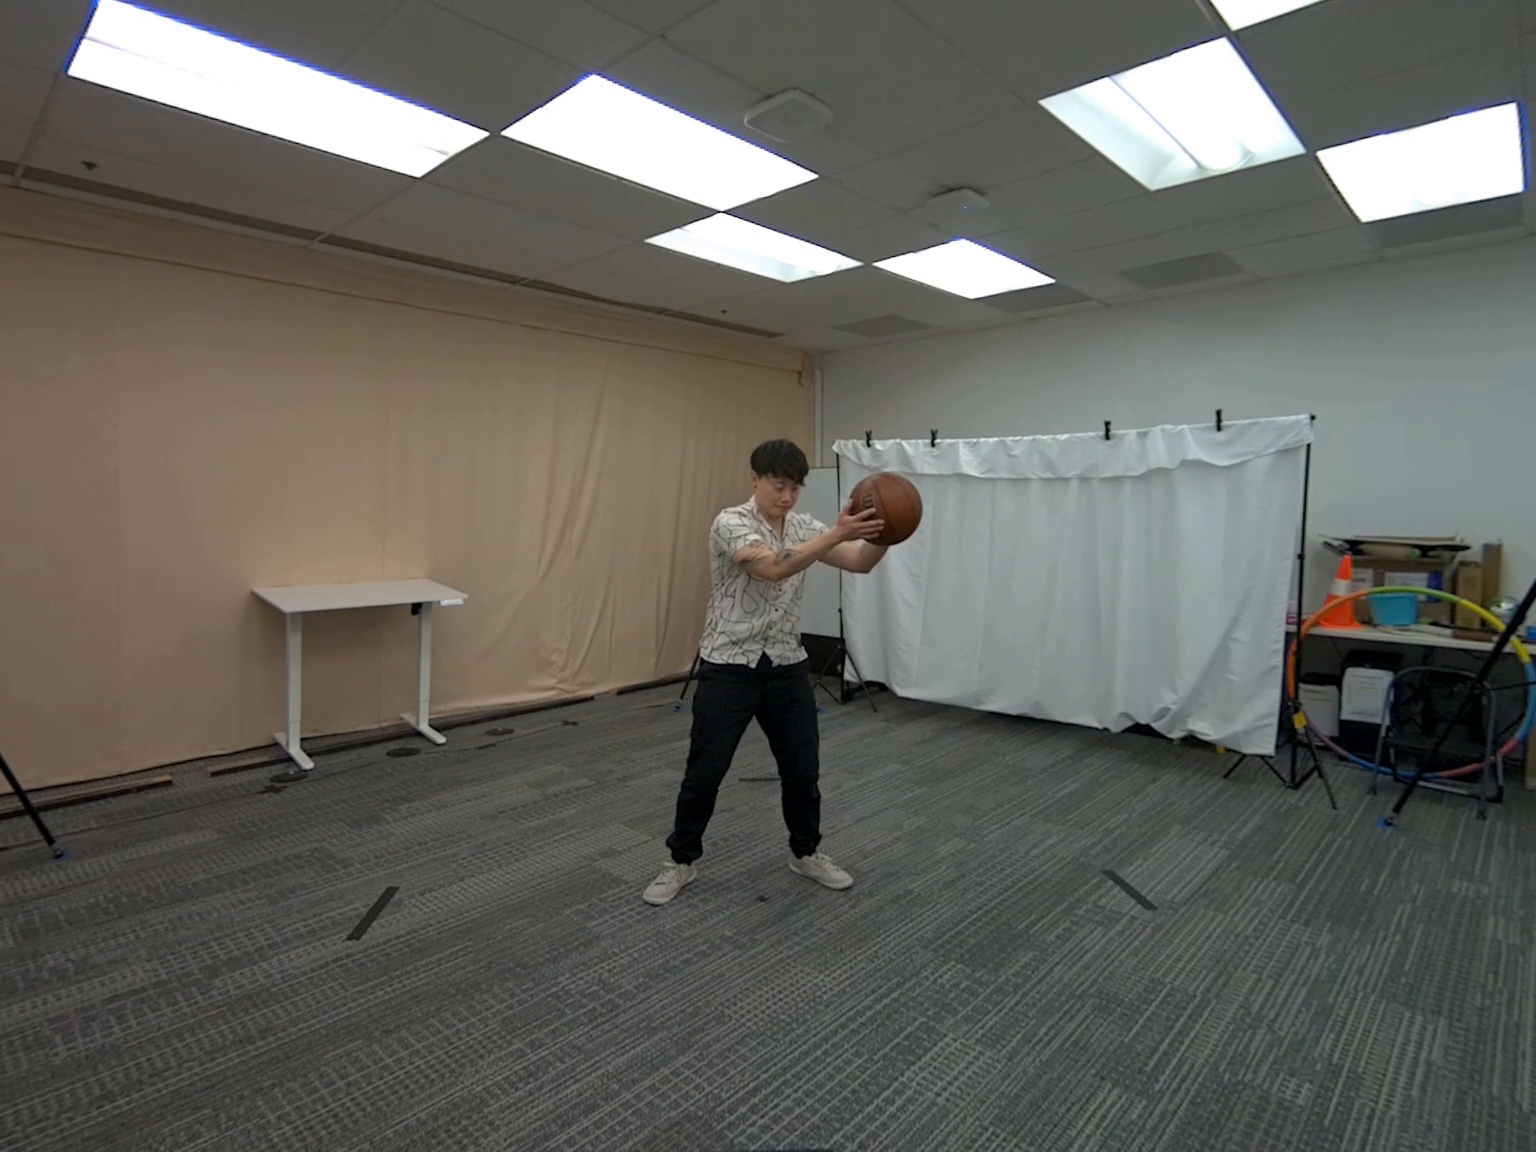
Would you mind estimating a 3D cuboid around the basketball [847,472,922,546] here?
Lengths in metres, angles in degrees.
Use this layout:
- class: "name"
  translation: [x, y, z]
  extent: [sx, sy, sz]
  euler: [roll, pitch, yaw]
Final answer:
- class: "basketball"
  translation: [0.377, -0.206, 2.712]
  extent: [0.236, 0.235, 0.237]
  euler: [0, 4, -2]
